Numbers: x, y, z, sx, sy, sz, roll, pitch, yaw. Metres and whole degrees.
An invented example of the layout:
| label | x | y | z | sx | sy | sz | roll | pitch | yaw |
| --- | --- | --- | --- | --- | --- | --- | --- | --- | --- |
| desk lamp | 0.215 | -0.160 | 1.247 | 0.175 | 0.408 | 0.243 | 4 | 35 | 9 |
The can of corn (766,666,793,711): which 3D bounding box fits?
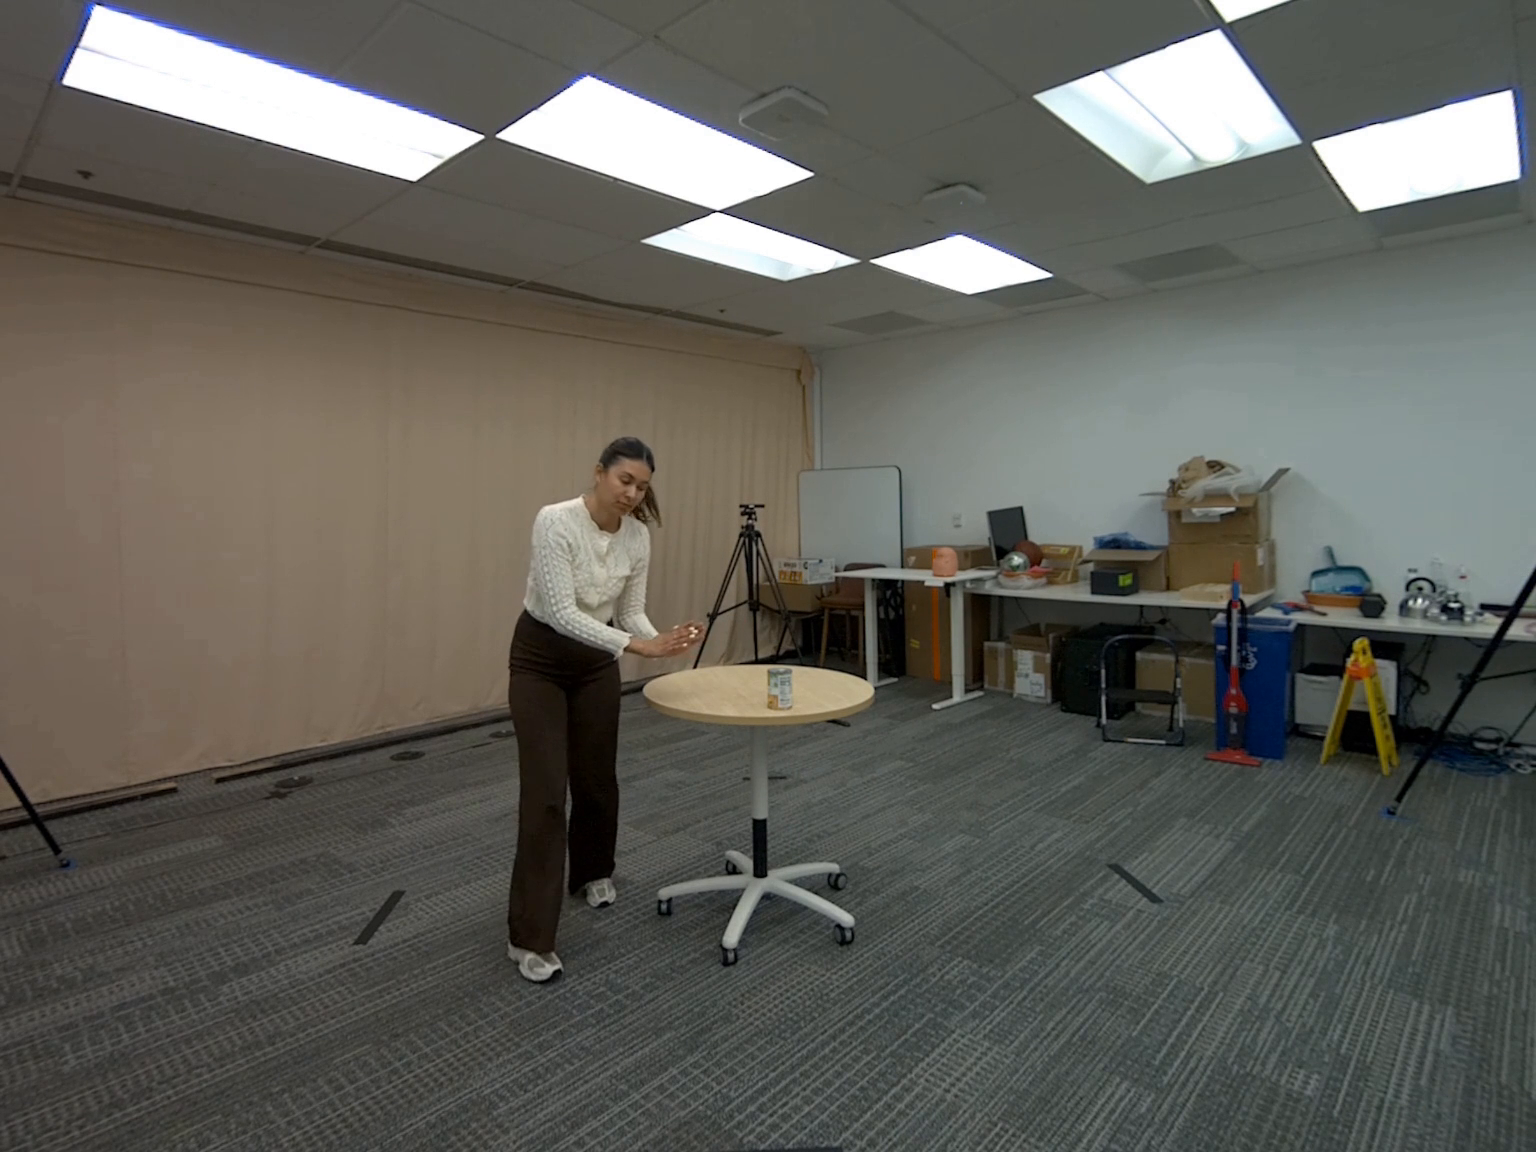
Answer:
| label | x | y | z | sx | sy | sz | roll | pitch | yaw |
| --- | --- | --- | --- | --- | --- | --- | --- | --- | --- |
| can of corn | 0.036 | 0.344 | 2.522 | 0.074 | 0.110 | 0.074 | -2 | 7 | -2 |
